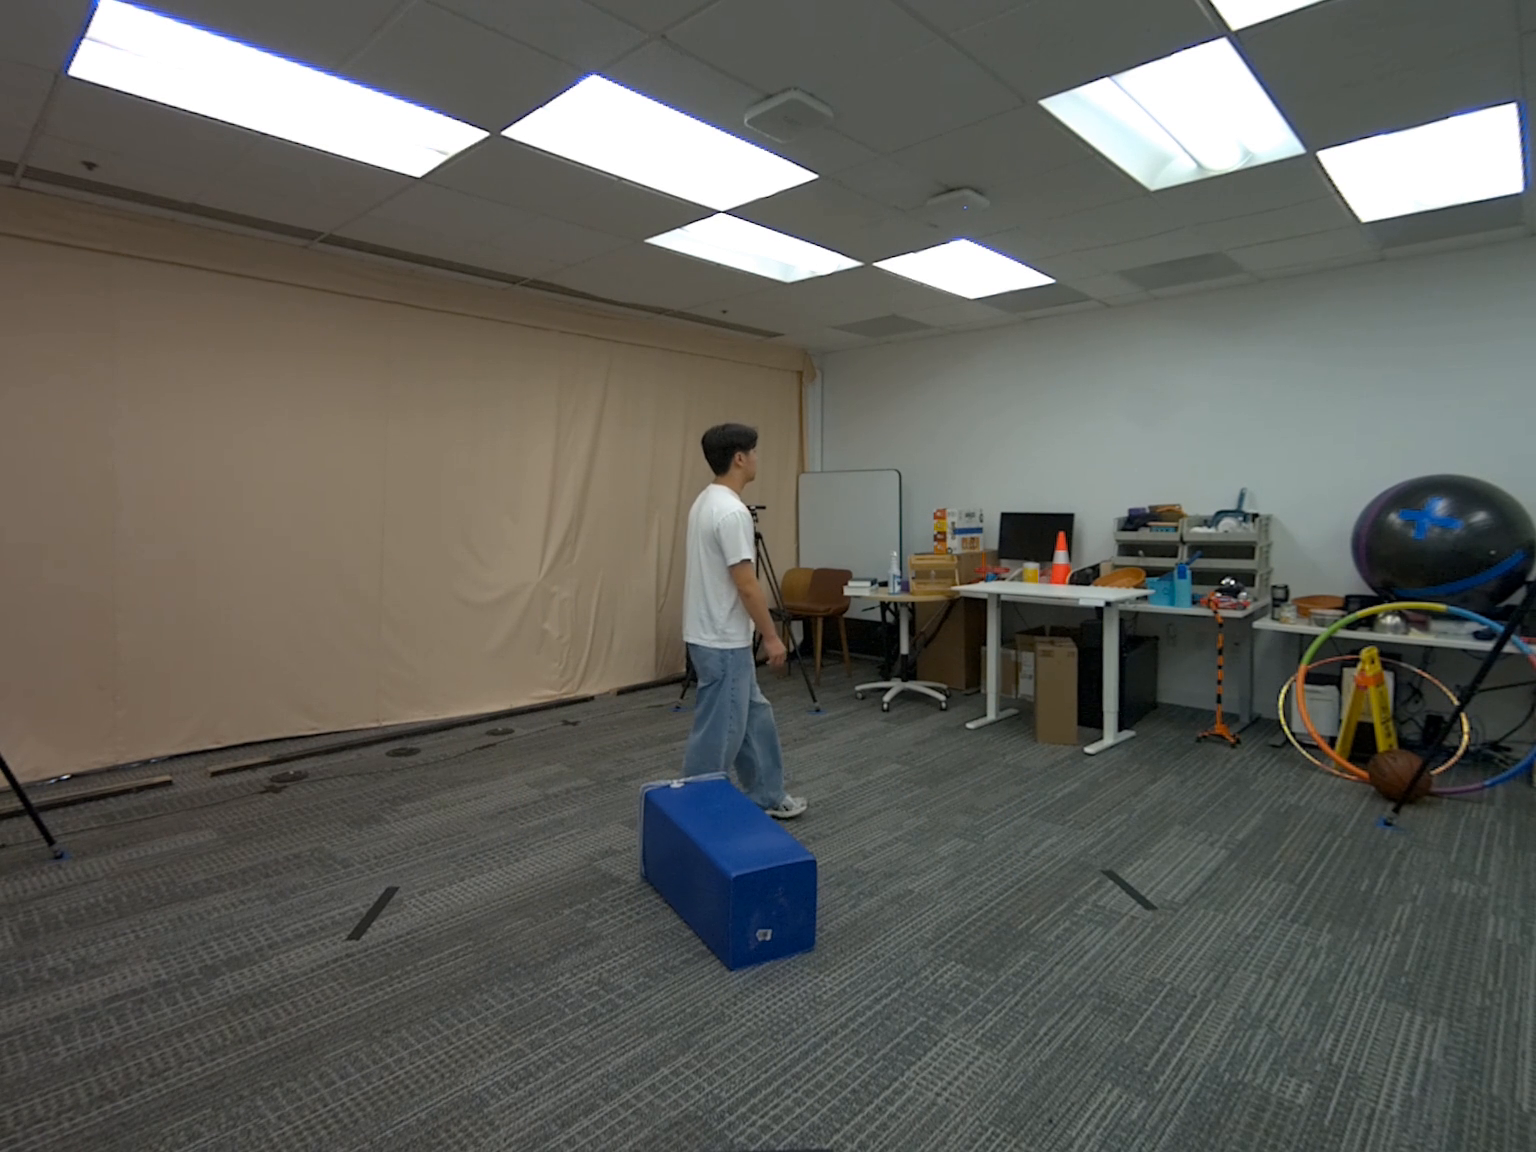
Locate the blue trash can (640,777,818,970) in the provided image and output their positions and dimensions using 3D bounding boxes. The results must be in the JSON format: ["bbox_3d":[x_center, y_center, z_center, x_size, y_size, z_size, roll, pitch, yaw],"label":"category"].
[{"bbox_3d":[-0.145,0.986,2.883,0.365,0.377,0.734,-2,7,-28],"label":"blue trash can"}]
